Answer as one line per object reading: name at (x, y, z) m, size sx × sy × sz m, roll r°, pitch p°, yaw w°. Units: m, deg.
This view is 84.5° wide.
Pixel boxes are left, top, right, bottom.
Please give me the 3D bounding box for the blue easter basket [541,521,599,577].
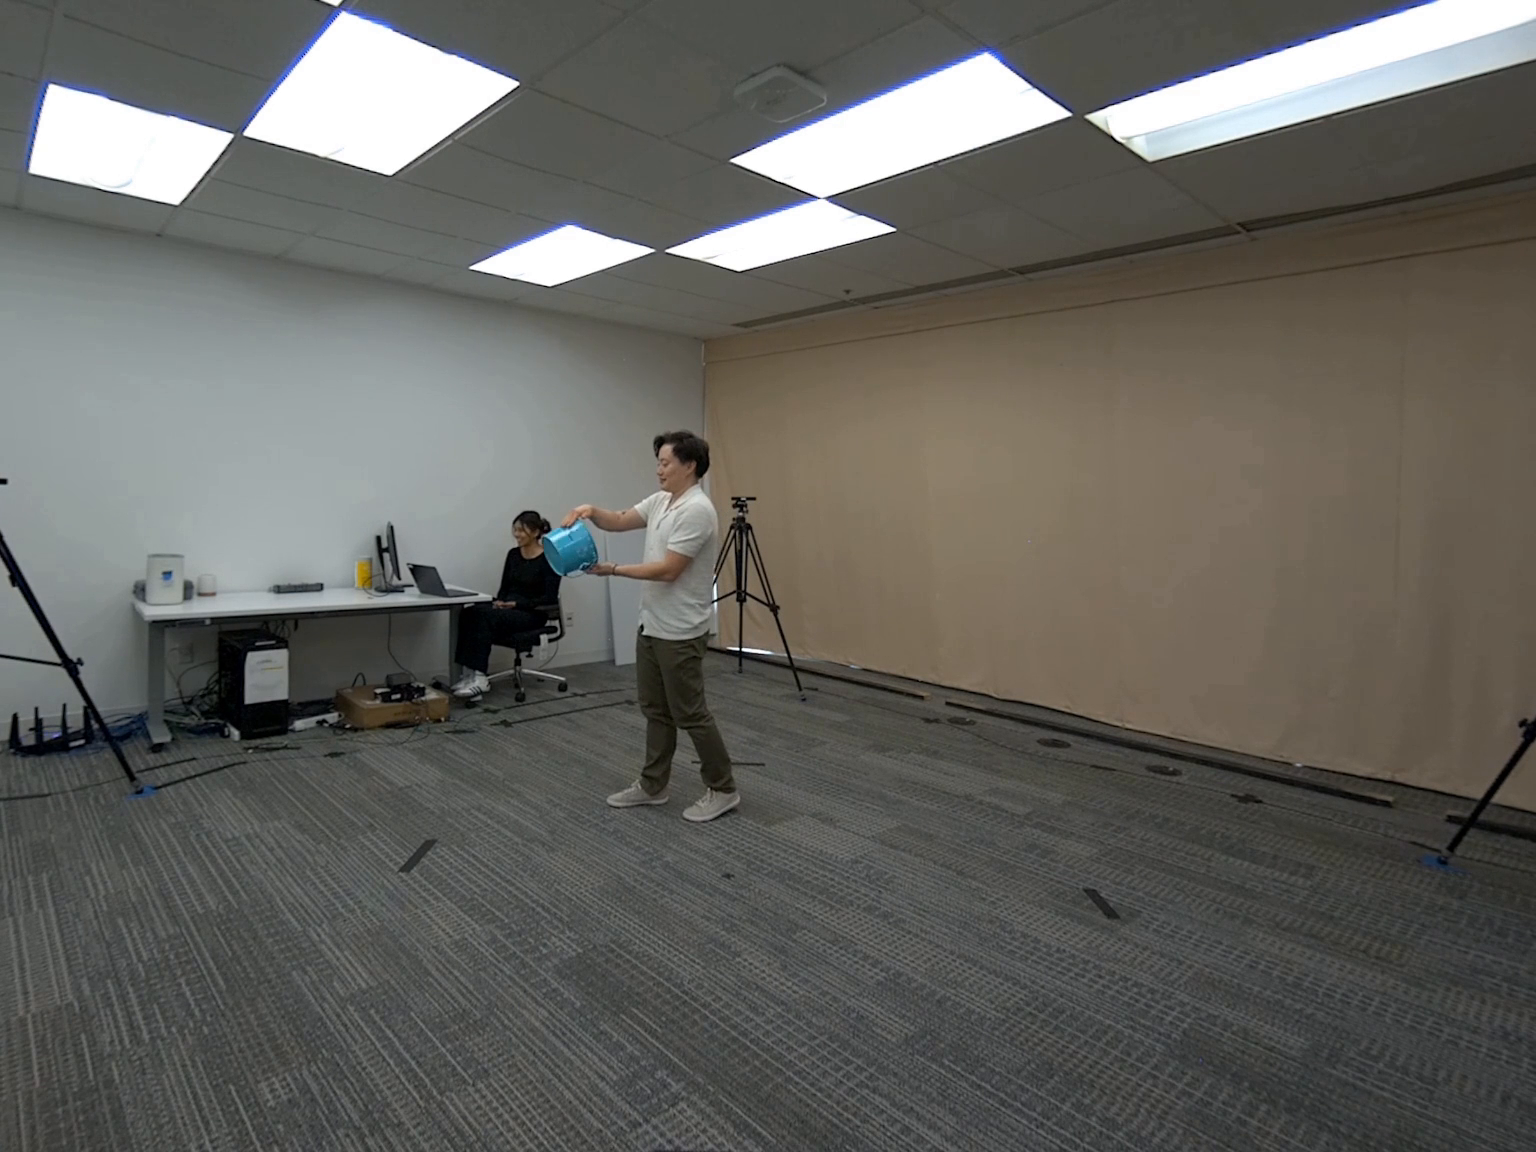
blue easter basket at (-0.849, -0.115, 3.567) m, size 0.154 × 0.239 × 0.249 m, roll -30°, pitch 20°, yaw -29°
